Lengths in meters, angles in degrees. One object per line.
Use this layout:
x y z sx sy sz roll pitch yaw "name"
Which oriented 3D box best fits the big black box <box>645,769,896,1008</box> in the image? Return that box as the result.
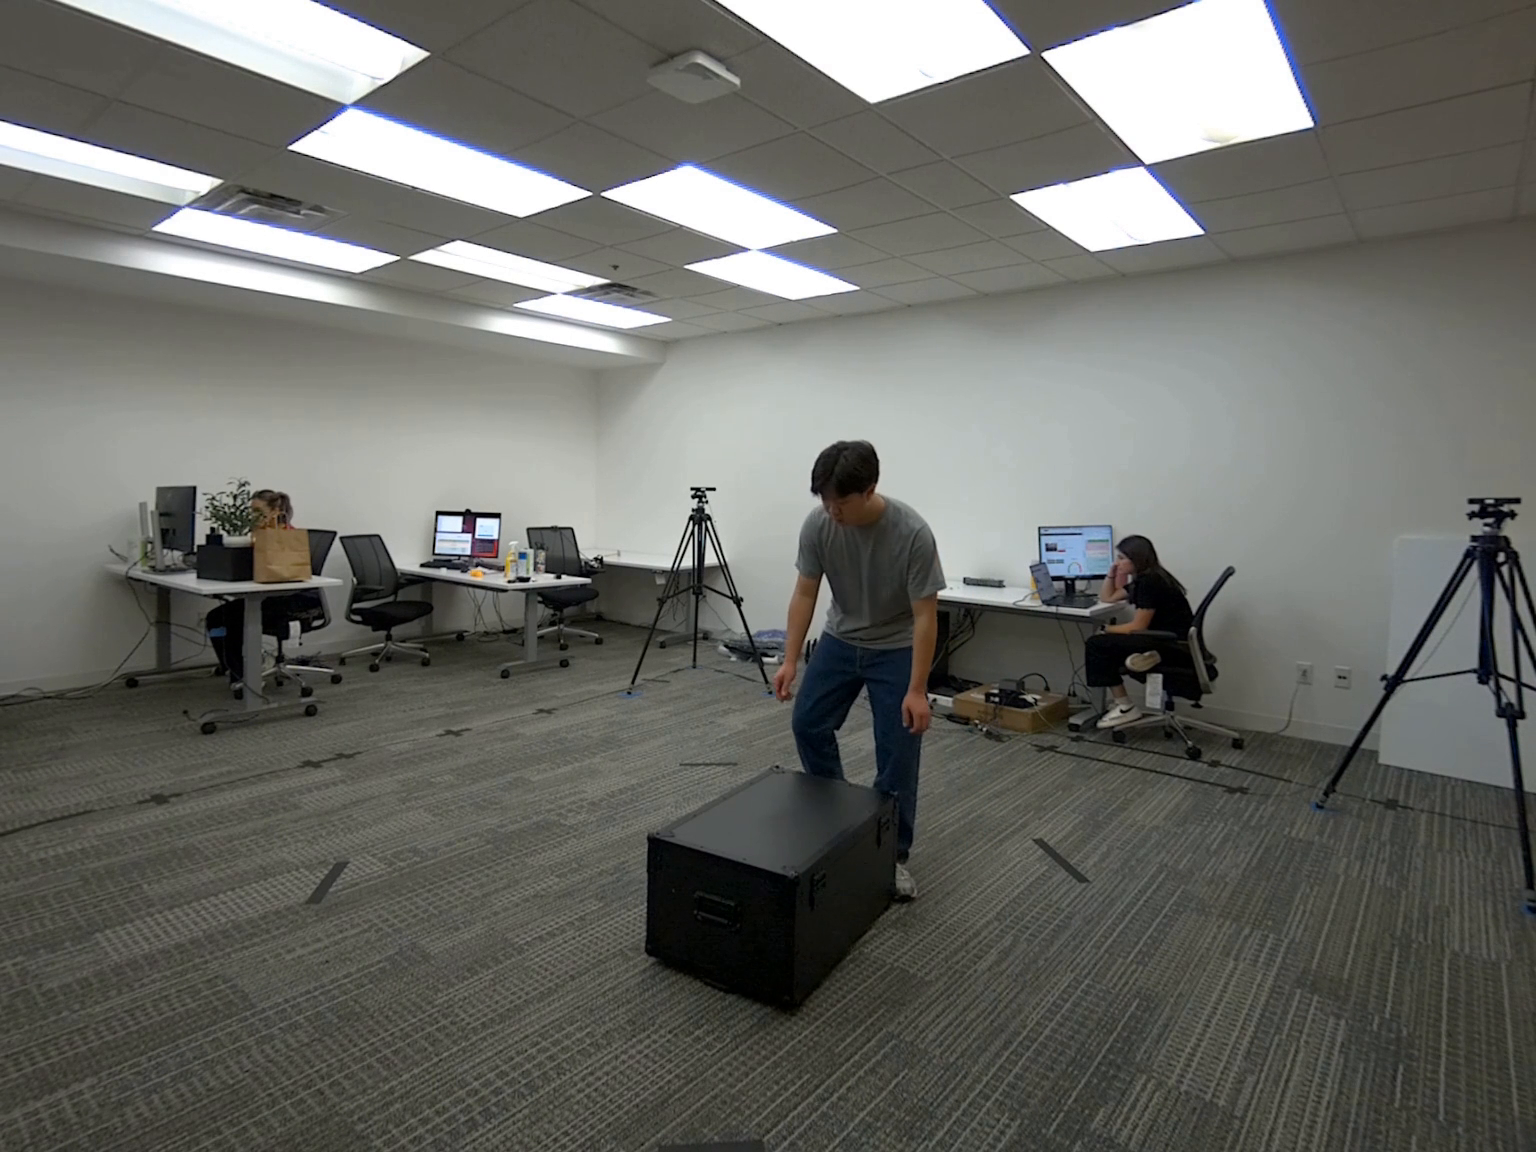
0.048 0.921 2.698 0.536 0.395 0.839 4 5 29 "big black box"
